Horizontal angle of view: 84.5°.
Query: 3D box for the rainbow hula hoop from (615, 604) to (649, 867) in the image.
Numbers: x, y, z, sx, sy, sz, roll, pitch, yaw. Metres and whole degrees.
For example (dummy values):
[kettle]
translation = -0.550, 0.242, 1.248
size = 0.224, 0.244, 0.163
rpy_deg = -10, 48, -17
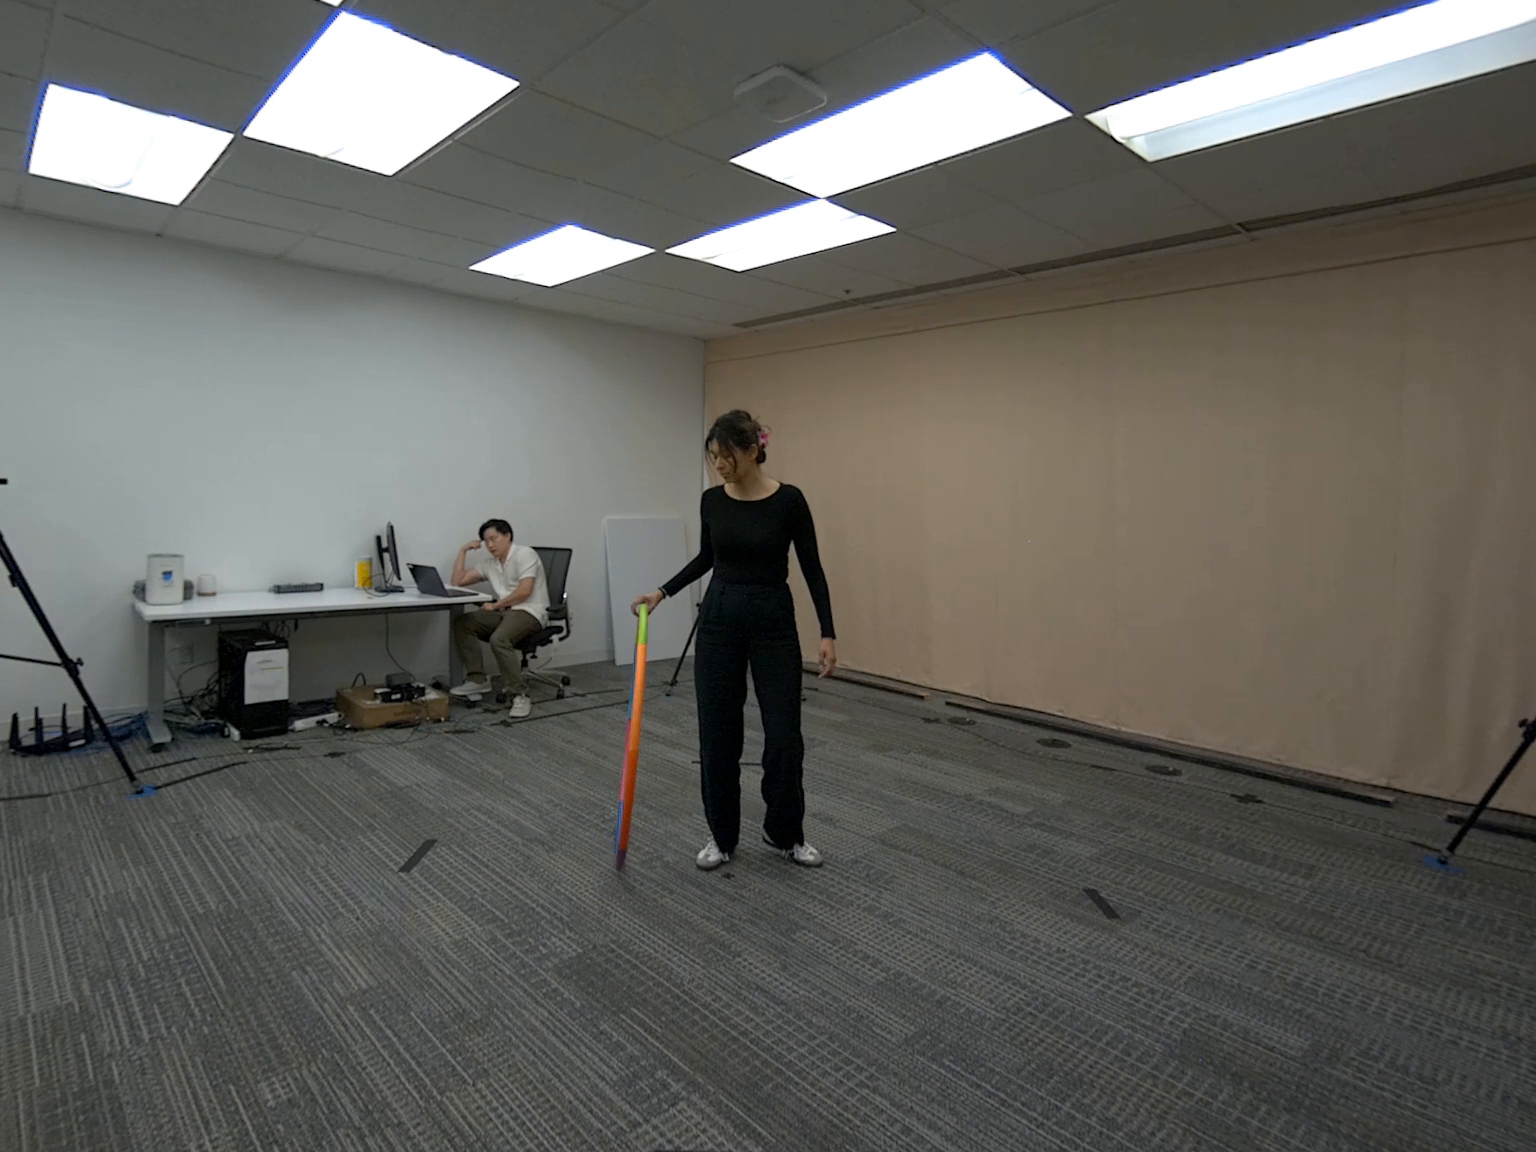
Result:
[rainbow hula hoop]
translation = -0.528, 0.605, 3.229
size = 0.035, 0.976, 0.987
rpy_deg = 5, 4, -9
